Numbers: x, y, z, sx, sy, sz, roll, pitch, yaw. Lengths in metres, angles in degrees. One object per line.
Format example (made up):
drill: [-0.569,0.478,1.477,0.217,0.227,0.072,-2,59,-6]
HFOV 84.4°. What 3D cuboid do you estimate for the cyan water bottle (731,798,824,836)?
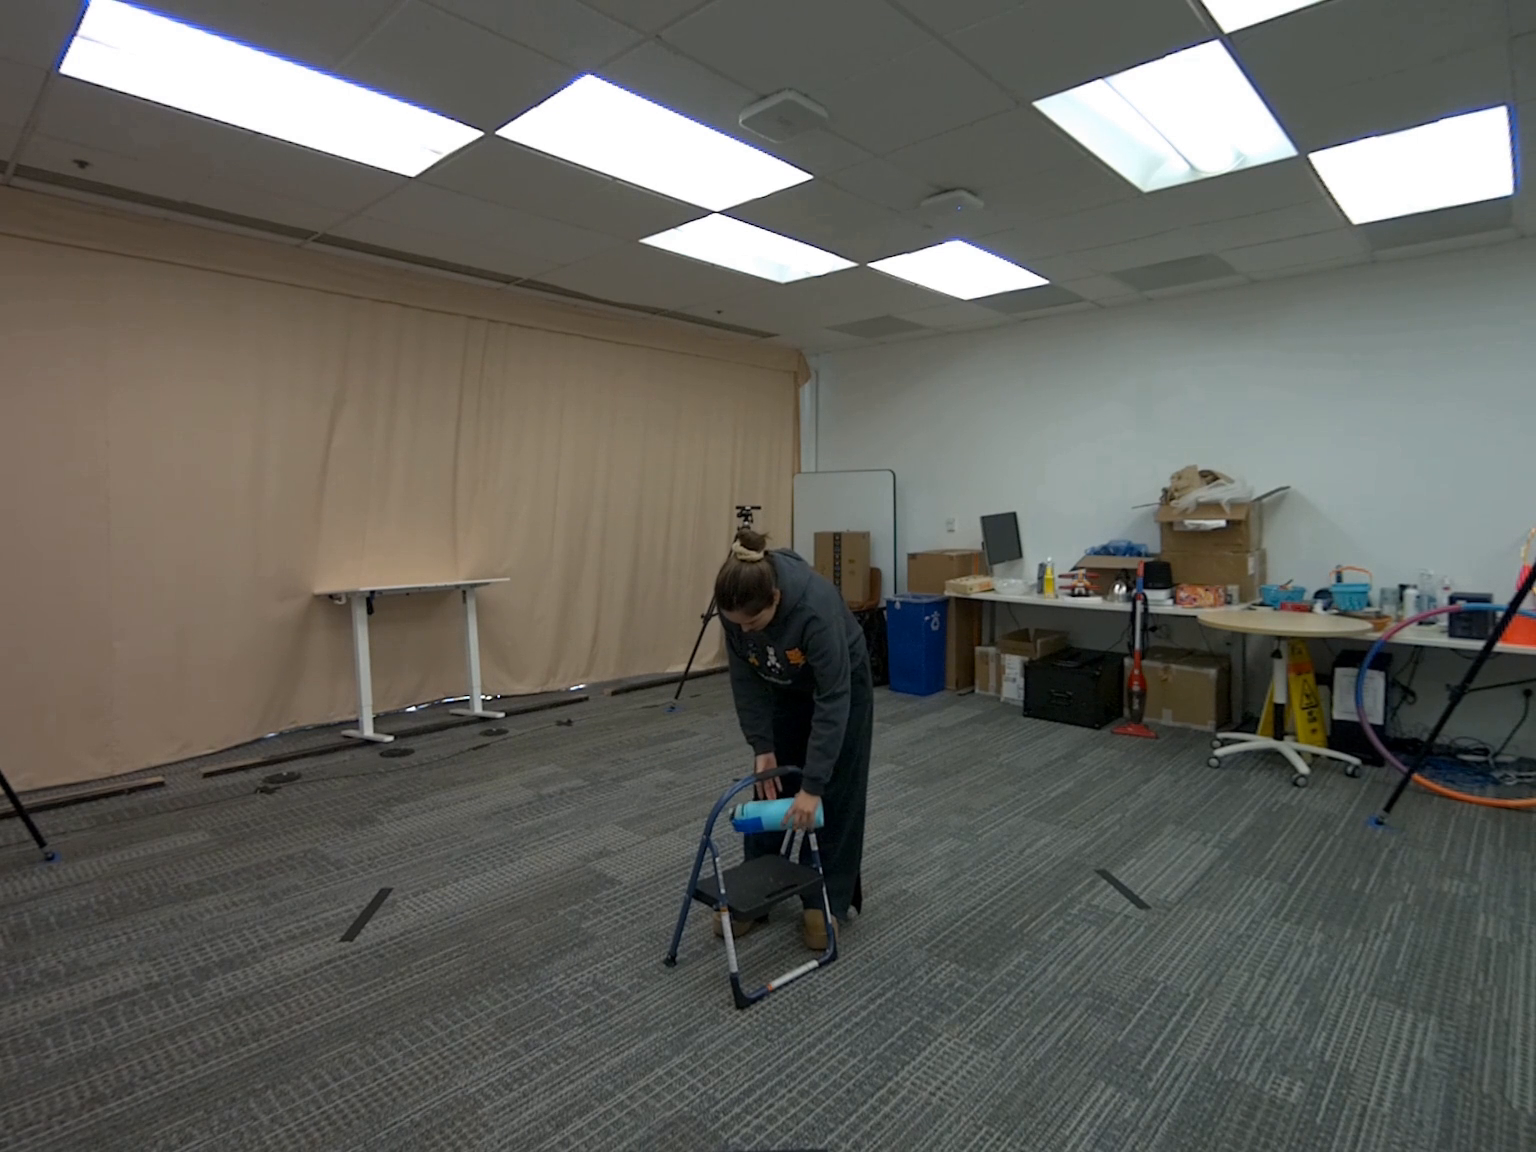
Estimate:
cyan water bottle: [0.048,0.717,2.533,0.286,0.092,0.091,-7,3,11]
